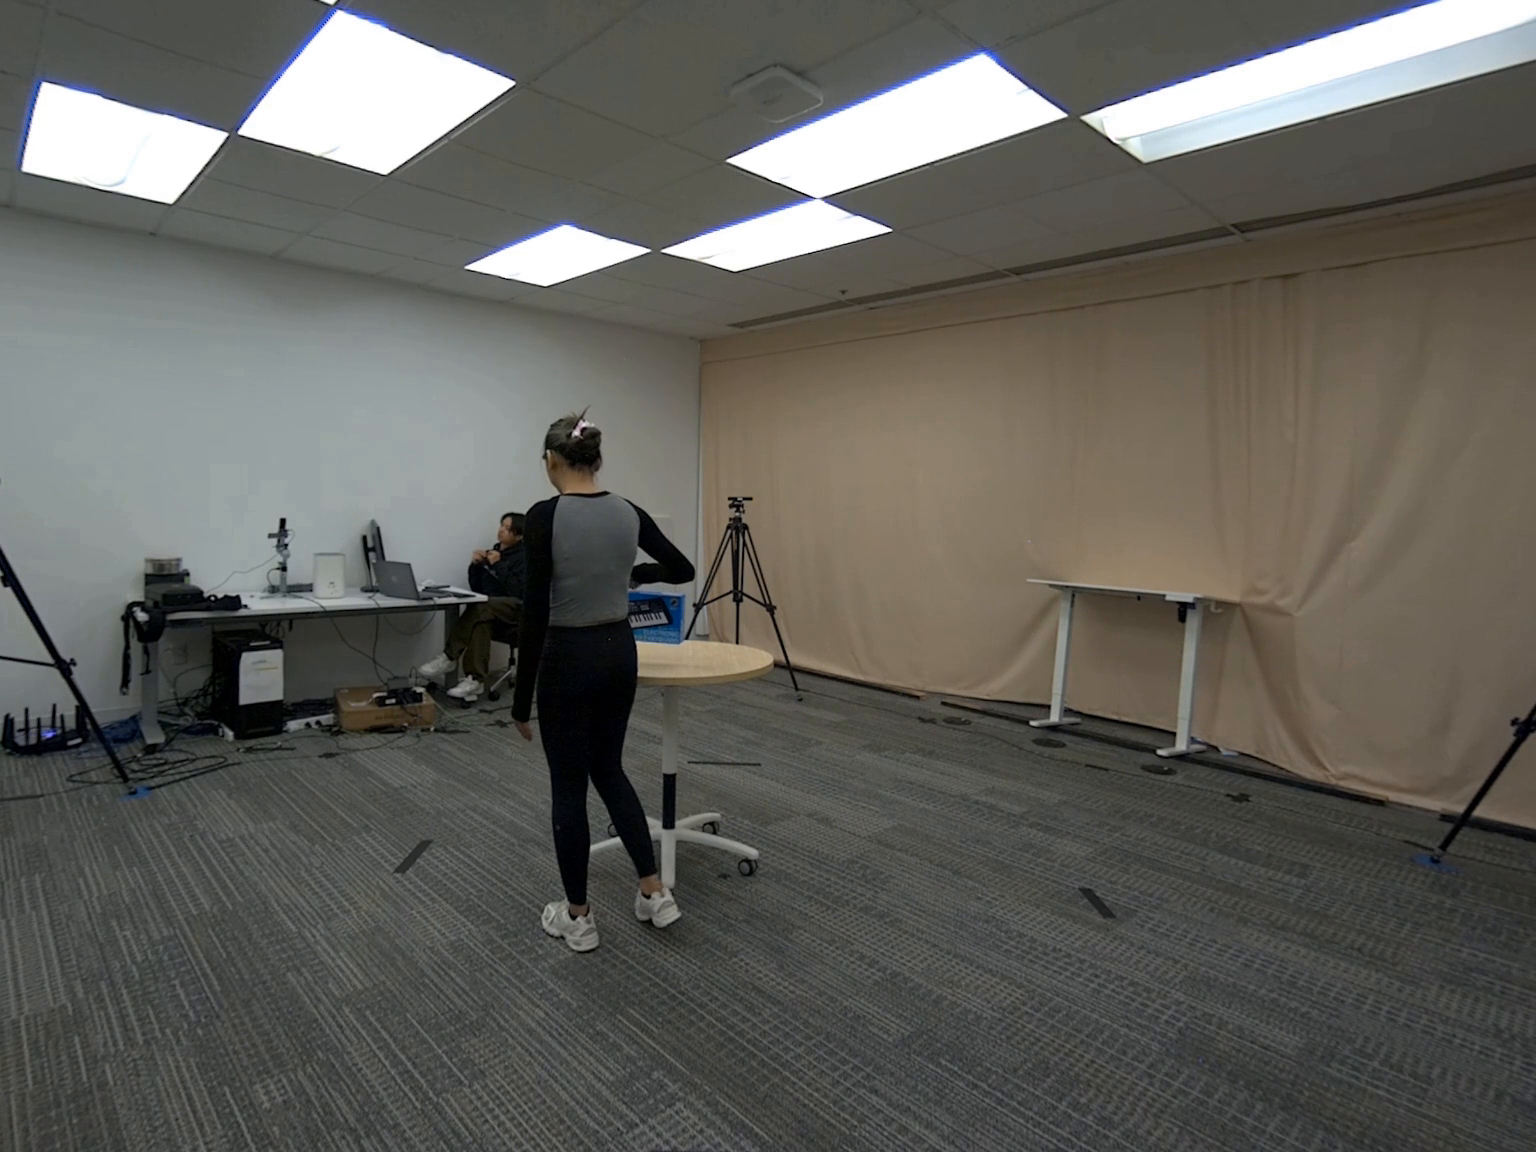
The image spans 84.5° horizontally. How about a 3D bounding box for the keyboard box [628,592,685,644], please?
[{"bbox_3d":[-0.526,0.140,3.011,0.441,0.175,0.059,3,5,10],"label":"keyboard box"}]
